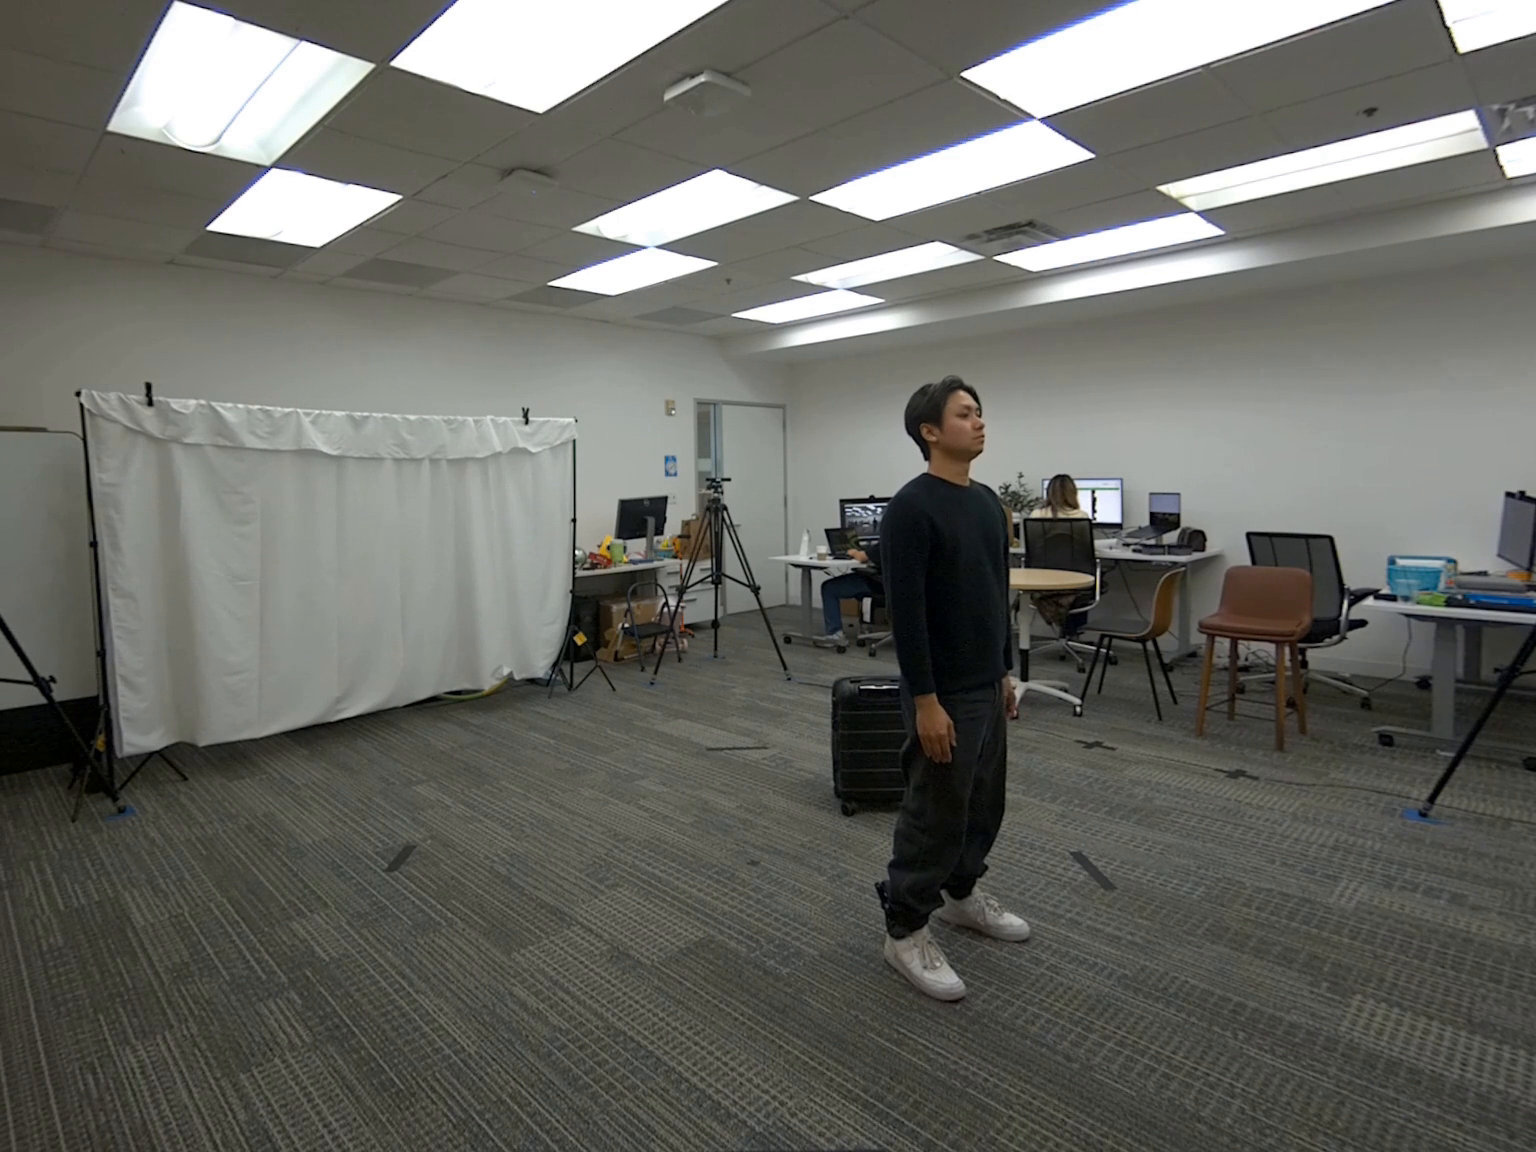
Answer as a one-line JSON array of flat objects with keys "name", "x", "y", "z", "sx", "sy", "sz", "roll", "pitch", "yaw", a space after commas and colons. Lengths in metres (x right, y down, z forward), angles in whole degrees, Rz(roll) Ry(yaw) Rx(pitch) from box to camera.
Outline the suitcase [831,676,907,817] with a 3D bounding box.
[{"name": "suitcase", "x": 0.459, "y": 0.697, "z": 3.649, "sx": 0.376, "sy": 0.547, "sz": 0.249, "roll": -1, "pitch": 4, "yaw": 0}]
